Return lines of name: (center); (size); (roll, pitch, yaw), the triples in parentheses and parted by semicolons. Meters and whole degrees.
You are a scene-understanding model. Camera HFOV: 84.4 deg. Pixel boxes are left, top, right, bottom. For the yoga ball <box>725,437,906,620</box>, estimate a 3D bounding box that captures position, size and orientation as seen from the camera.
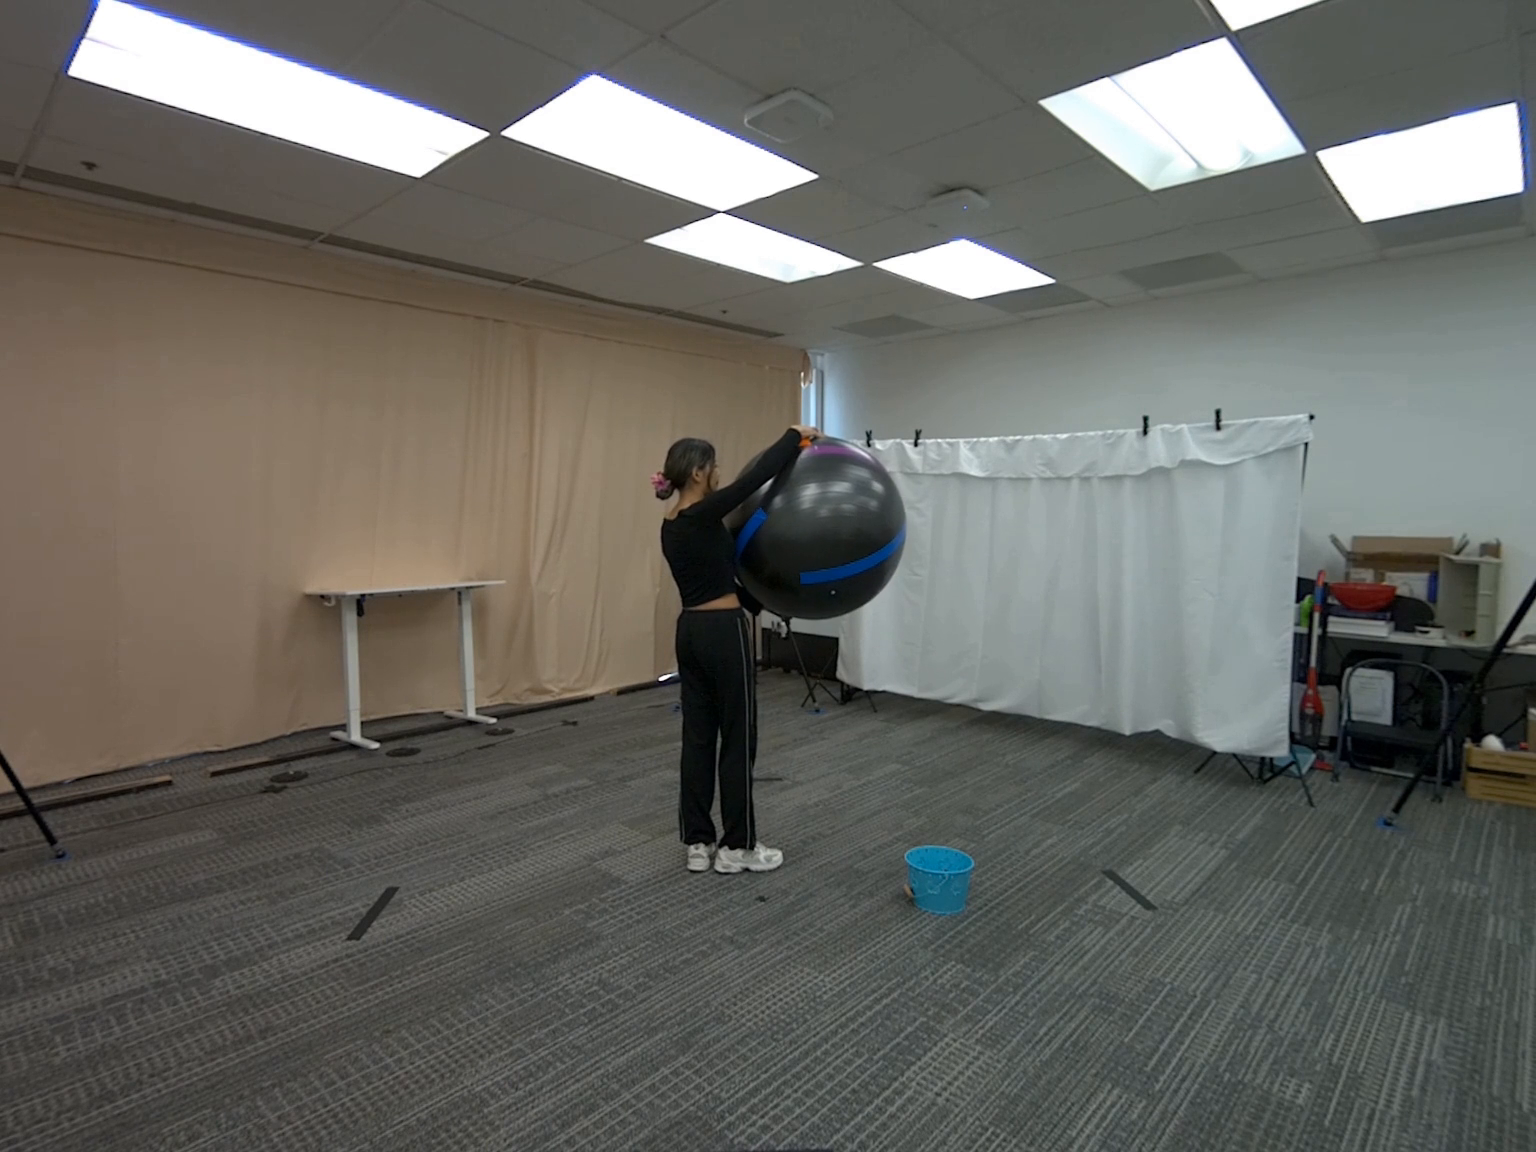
yoga ball: (0.180, -0.194, 3.472); (0.757, 0.756, 0.760); (0, 4, -2)
